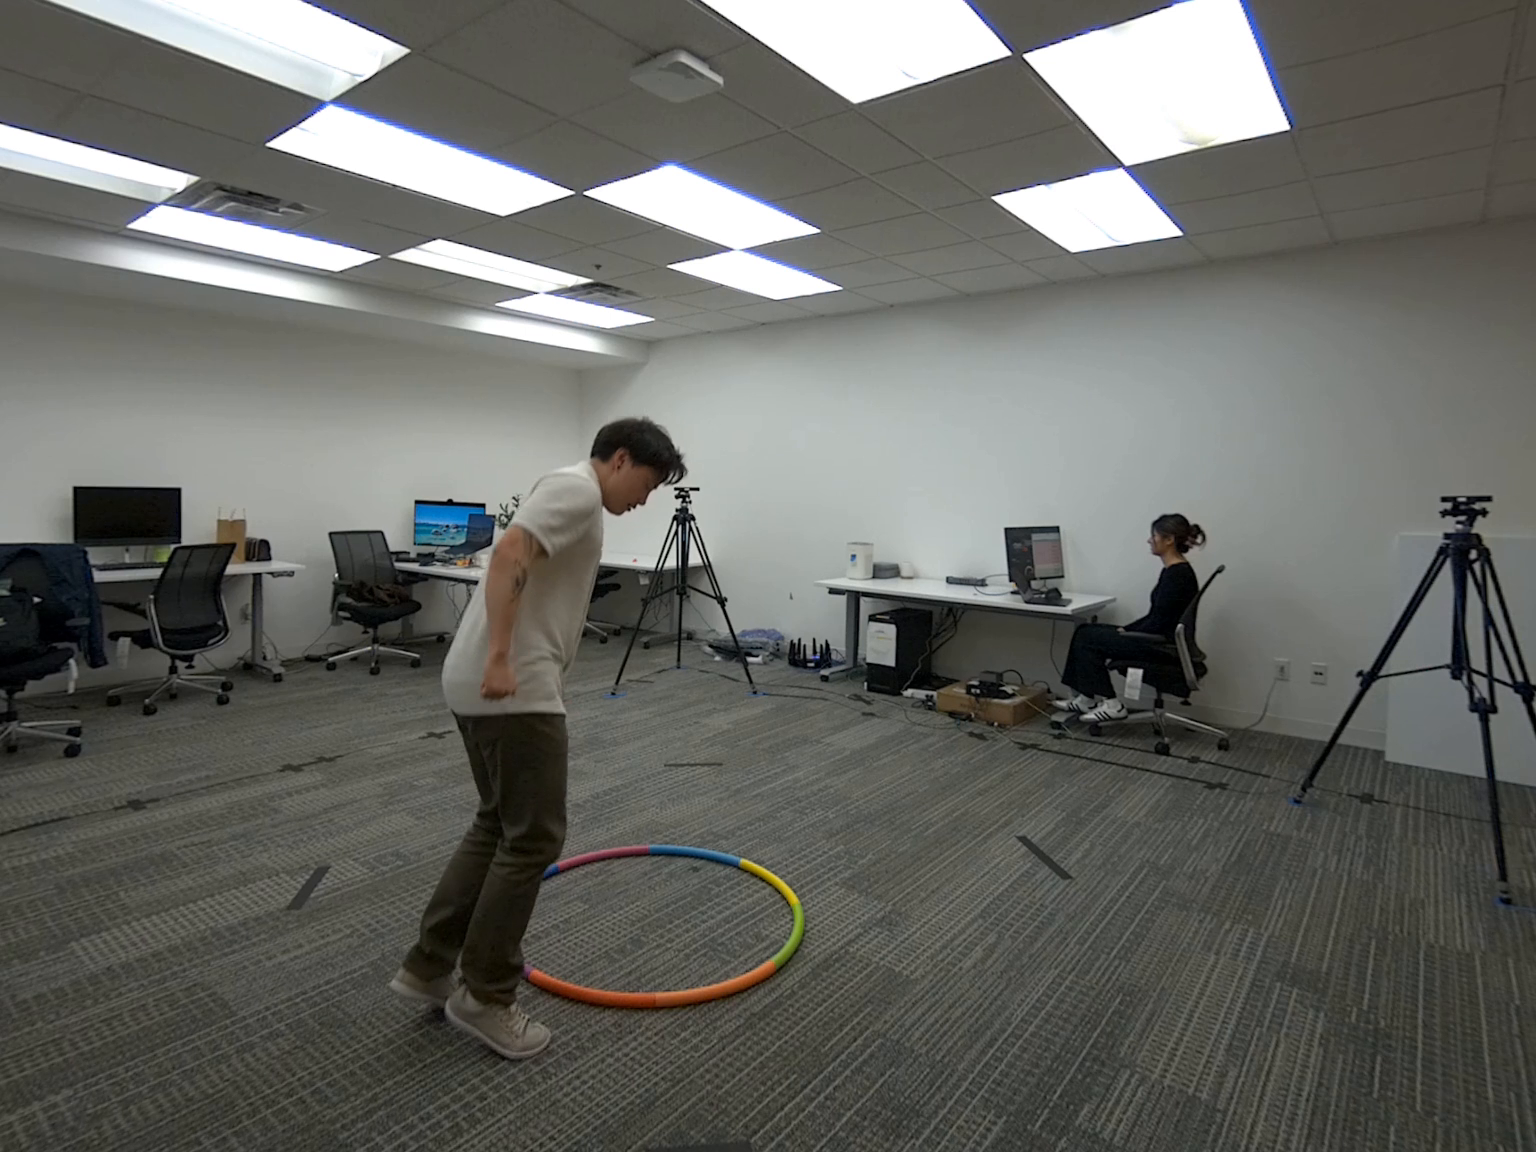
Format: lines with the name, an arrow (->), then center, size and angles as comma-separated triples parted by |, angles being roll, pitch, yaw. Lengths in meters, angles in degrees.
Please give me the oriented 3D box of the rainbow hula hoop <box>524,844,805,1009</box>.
rainbow hula hoop -> -0.382, 1.071, 2.749 | 0.978, 0.035, 0.984 | 1, 5, -2
